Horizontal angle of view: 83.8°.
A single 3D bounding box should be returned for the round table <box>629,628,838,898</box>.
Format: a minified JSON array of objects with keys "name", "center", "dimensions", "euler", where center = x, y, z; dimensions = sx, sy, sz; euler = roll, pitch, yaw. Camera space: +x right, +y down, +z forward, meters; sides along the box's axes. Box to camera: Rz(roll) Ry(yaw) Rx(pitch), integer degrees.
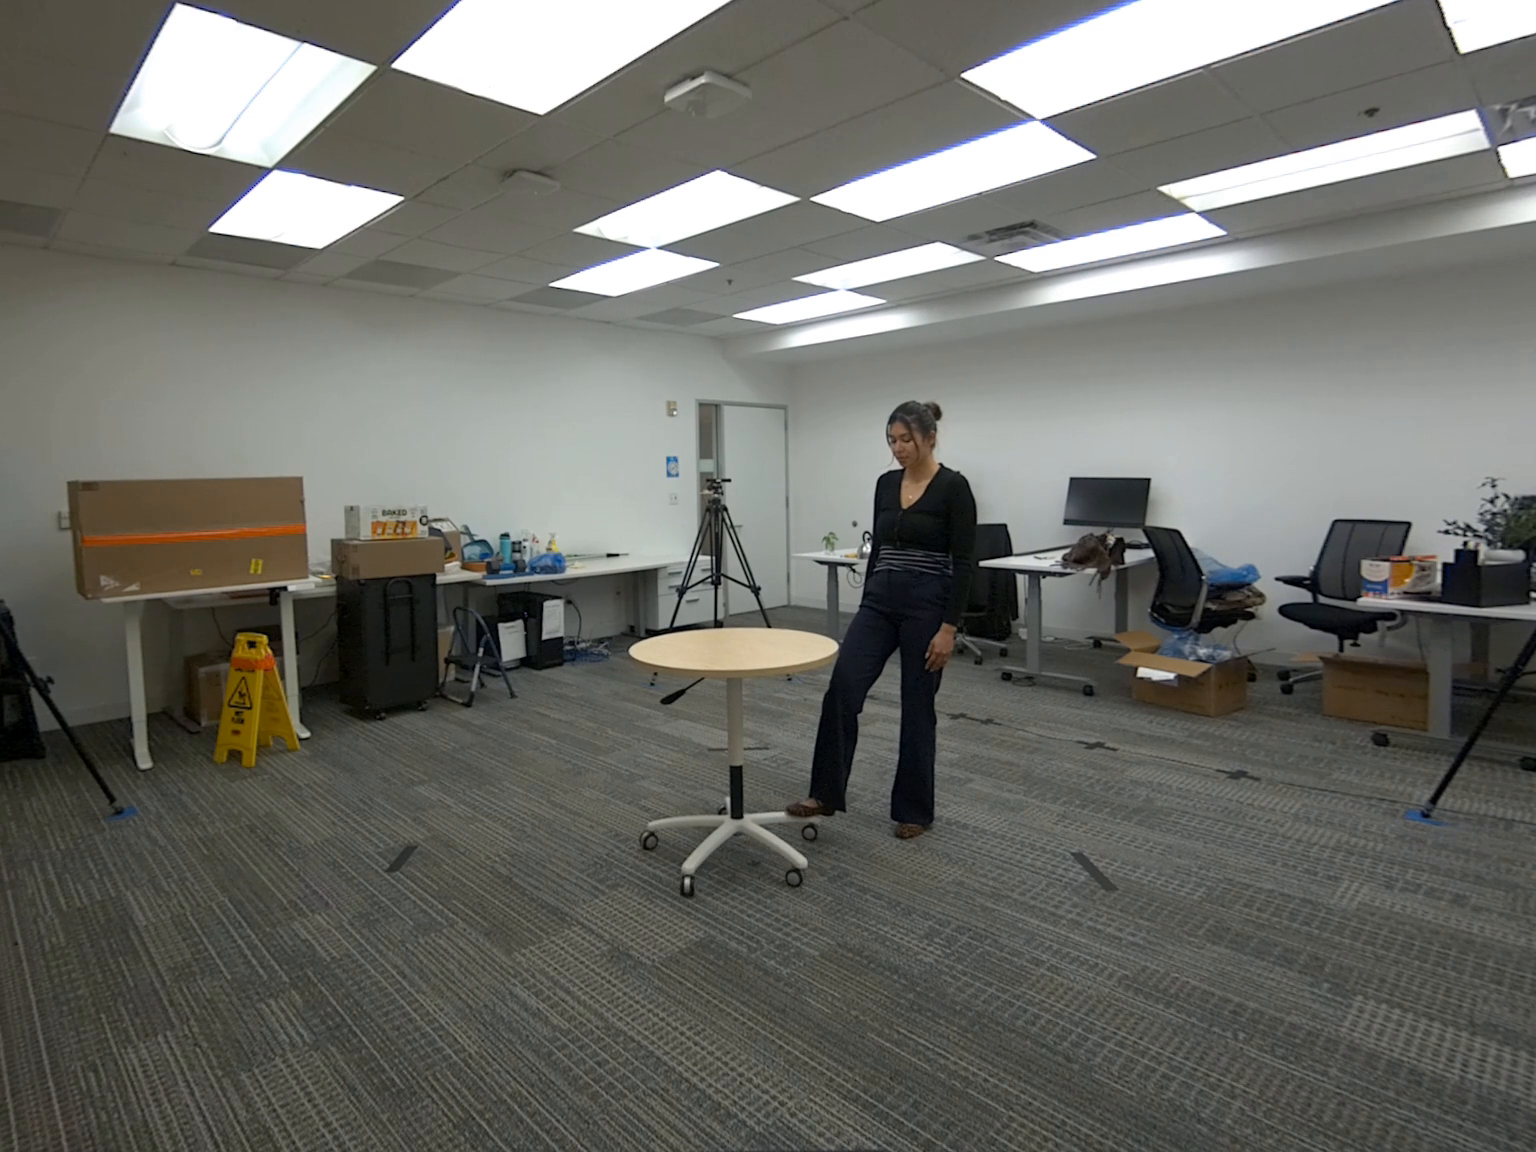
[{"name":"round table","center":[-0.118,0.652,3.155],"dimensions":[0.763,0.791,0.768],"euler":[-1,5,-2]}]
